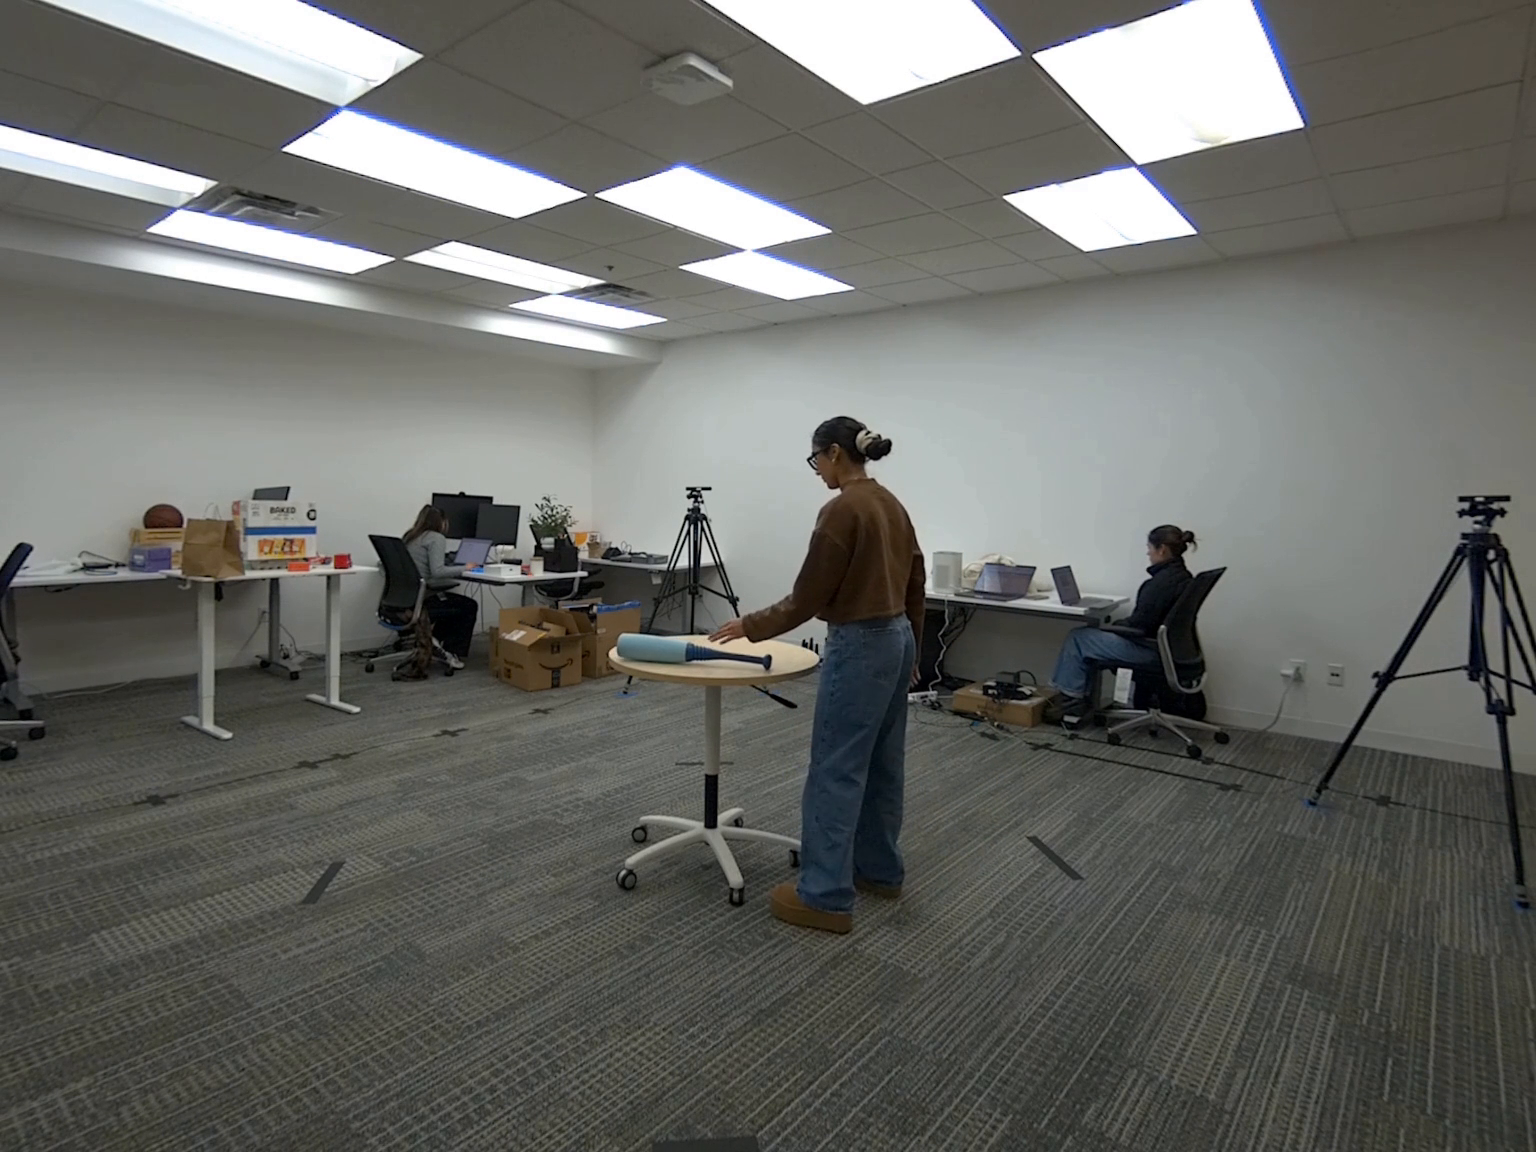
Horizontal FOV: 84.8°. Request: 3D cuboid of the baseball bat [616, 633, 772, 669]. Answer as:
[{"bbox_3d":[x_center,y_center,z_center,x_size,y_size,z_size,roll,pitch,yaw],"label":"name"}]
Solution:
[{"bbox_3d":[-0.262,0.270,2.921,0.550,0.089,0.088,5,5,11],"label":"baseball bat"}]
